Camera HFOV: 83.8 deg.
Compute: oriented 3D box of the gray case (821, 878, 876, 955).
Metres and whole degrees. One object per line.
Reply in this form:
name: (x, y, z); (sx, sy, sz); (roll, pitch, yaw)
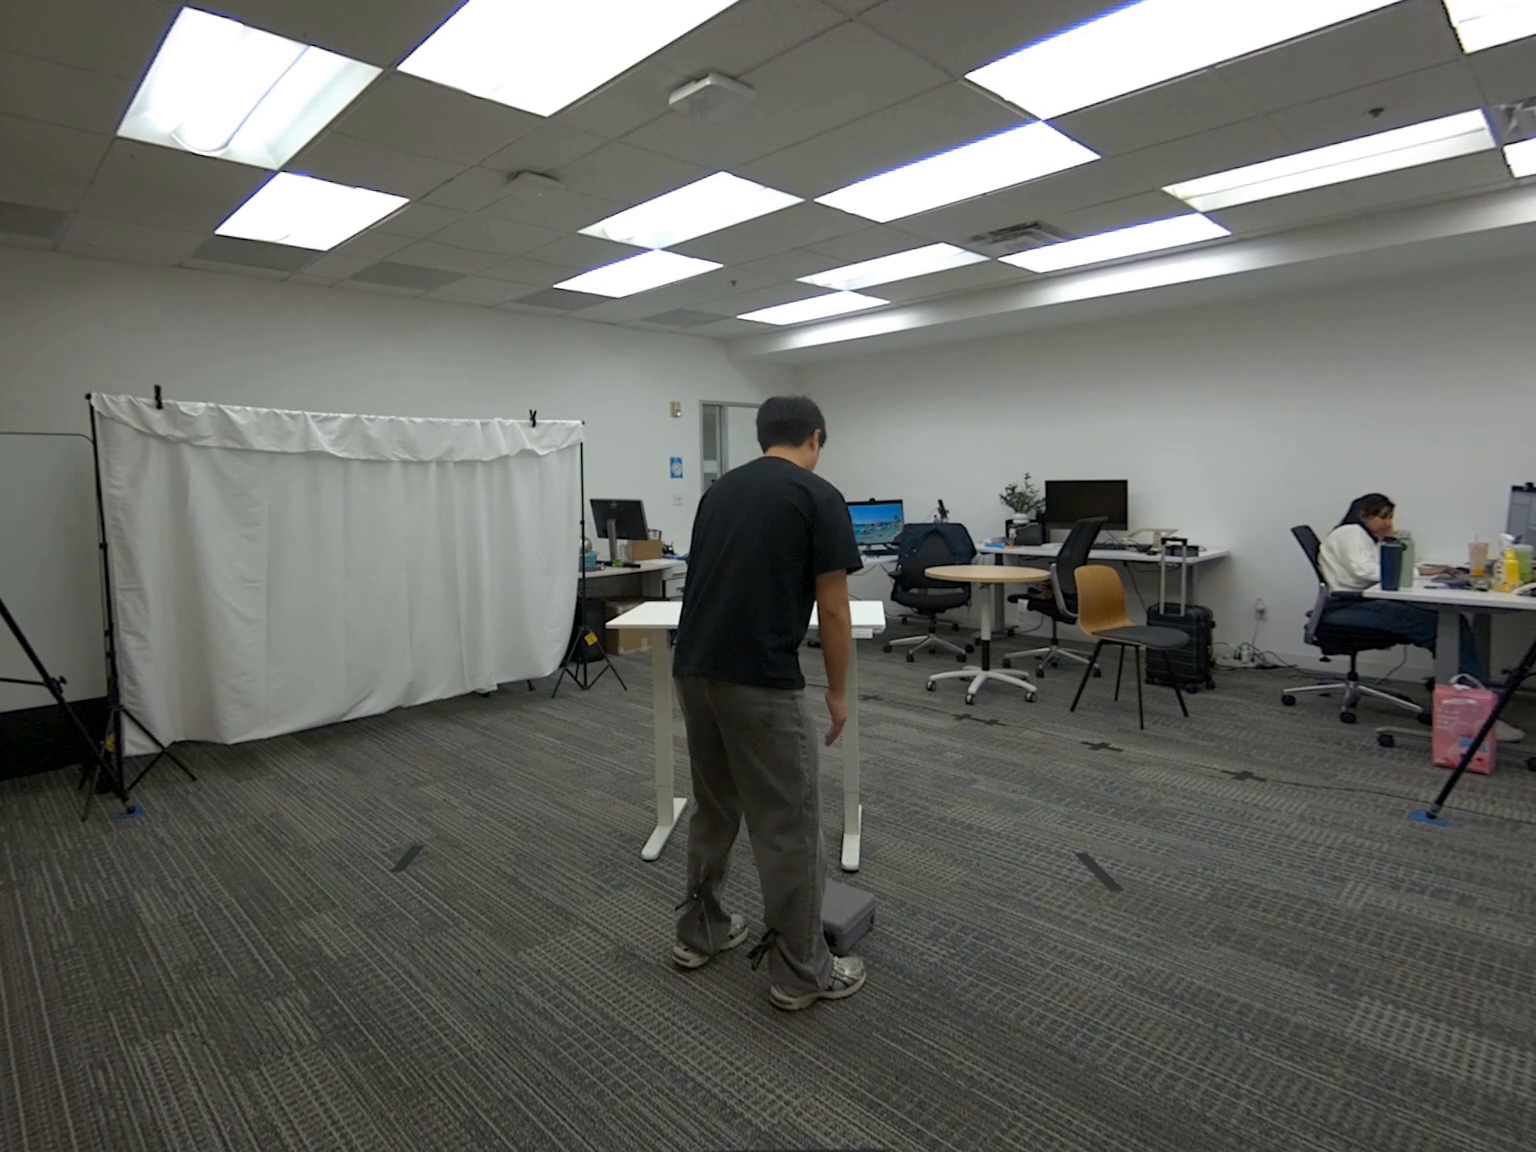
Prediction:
gray case: (0.183, 1.041, 2.651); (0.271, 0.102, 0.280); (5, 7, 34)
